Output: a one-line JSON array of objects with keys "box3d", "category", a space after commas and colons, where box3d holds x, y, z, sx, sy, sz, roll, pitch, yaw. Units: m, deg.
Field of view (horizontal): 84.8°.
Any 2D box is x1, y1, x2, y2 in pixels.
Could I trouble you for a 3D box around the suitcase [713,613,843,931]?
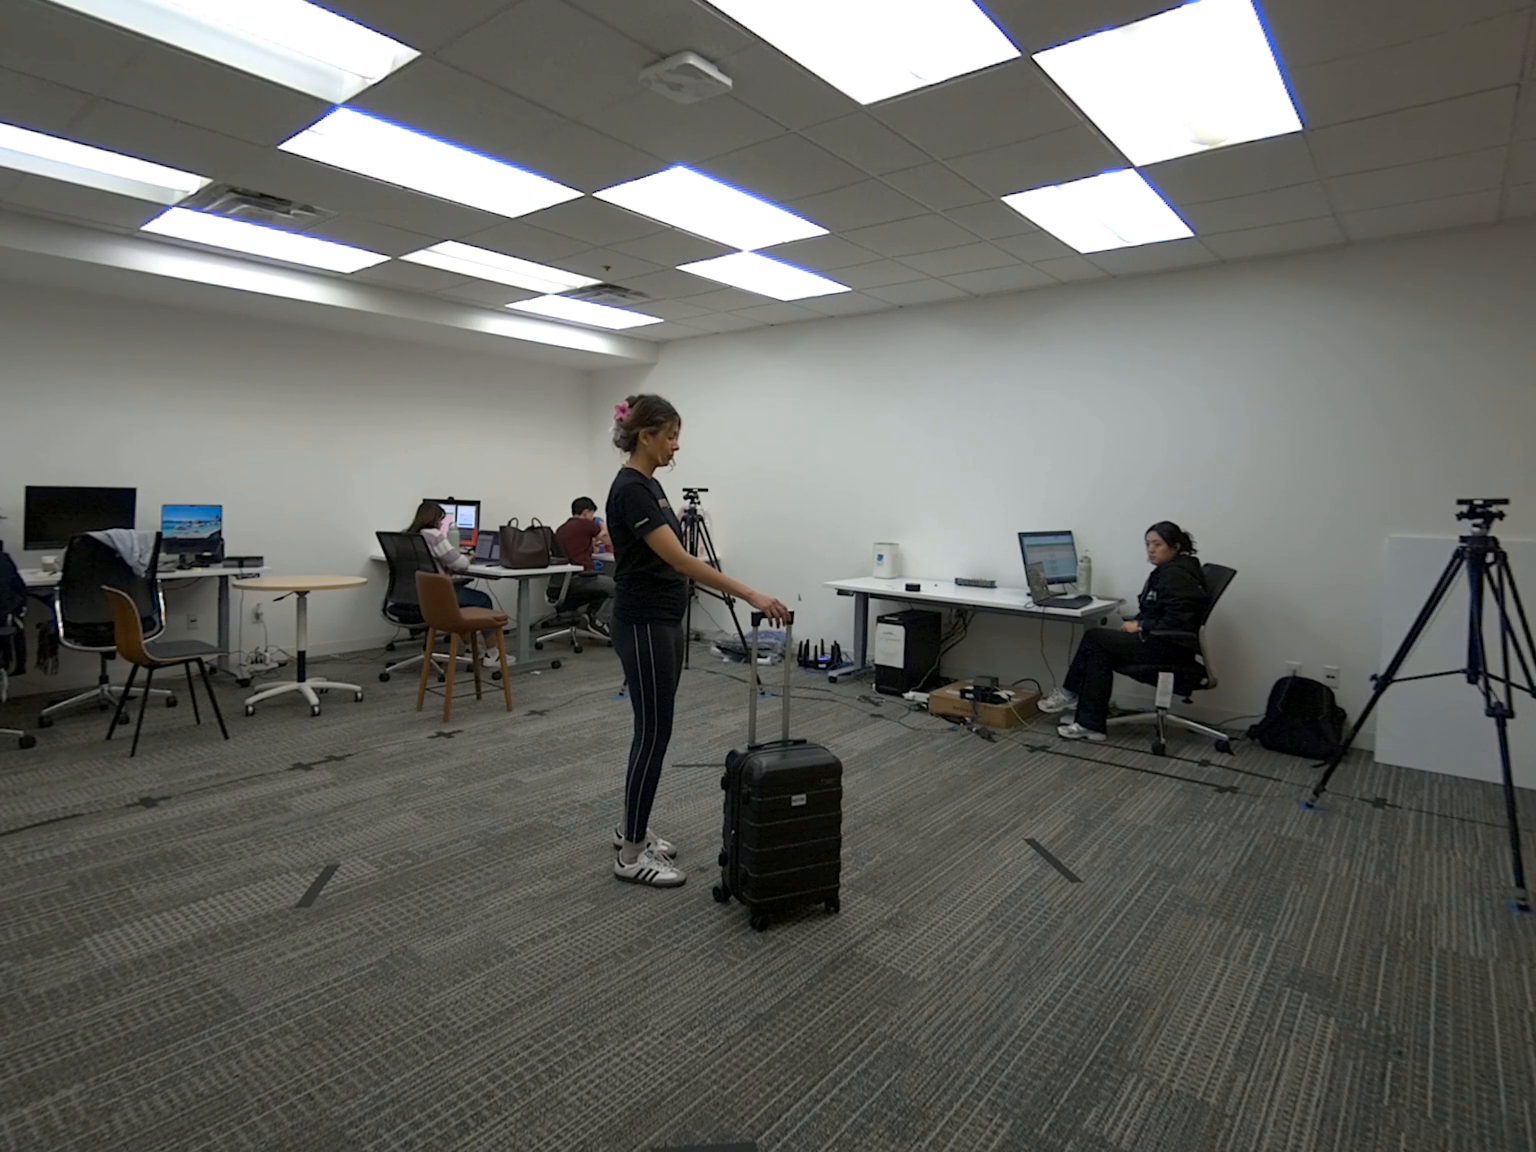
[{"box3d": [0.048, 0.624, 2.798, 0.375, 0.973, 0.264, 0, 6, -23], "category": "suitcase"}]
